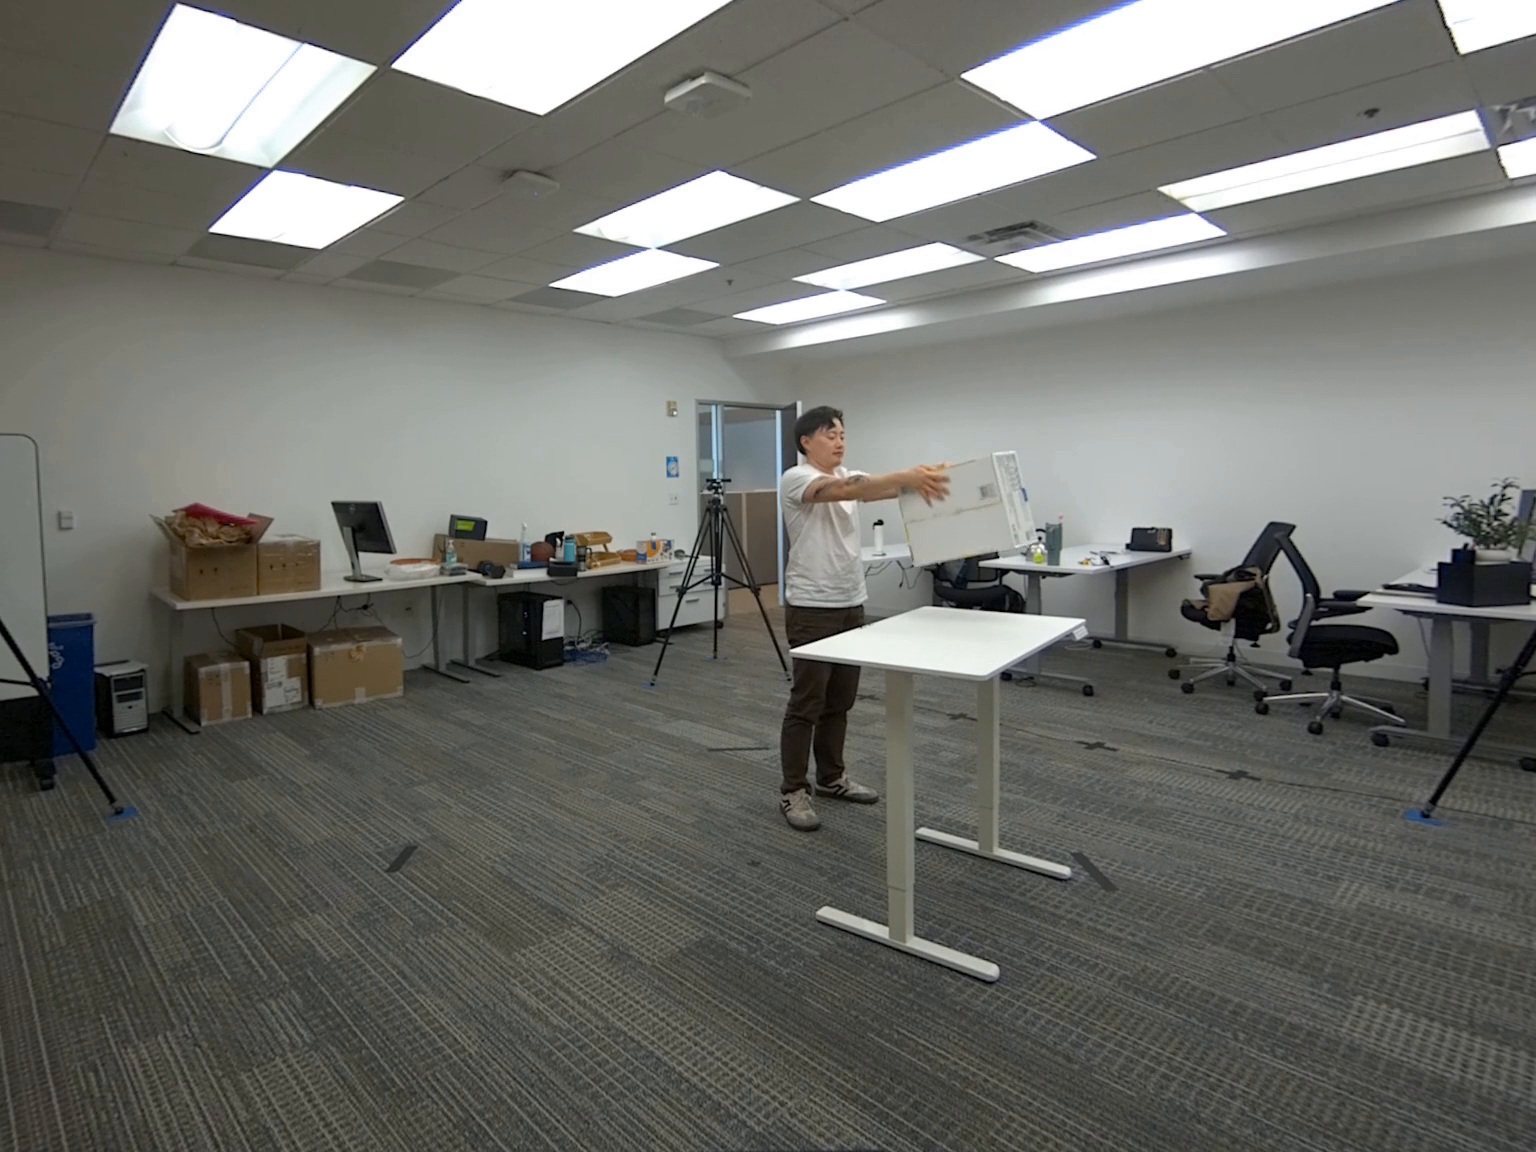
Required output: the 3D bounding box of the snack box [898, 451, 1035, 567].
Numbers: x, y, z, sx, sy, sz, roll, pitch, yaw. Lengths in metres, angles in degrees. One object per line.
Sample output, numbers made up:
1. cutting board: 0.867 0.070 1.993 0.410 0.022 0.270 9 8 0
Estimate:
1. snack box: 0.727 -0.247 3.155 0.414 0.341 0.201 -14 -2 42
